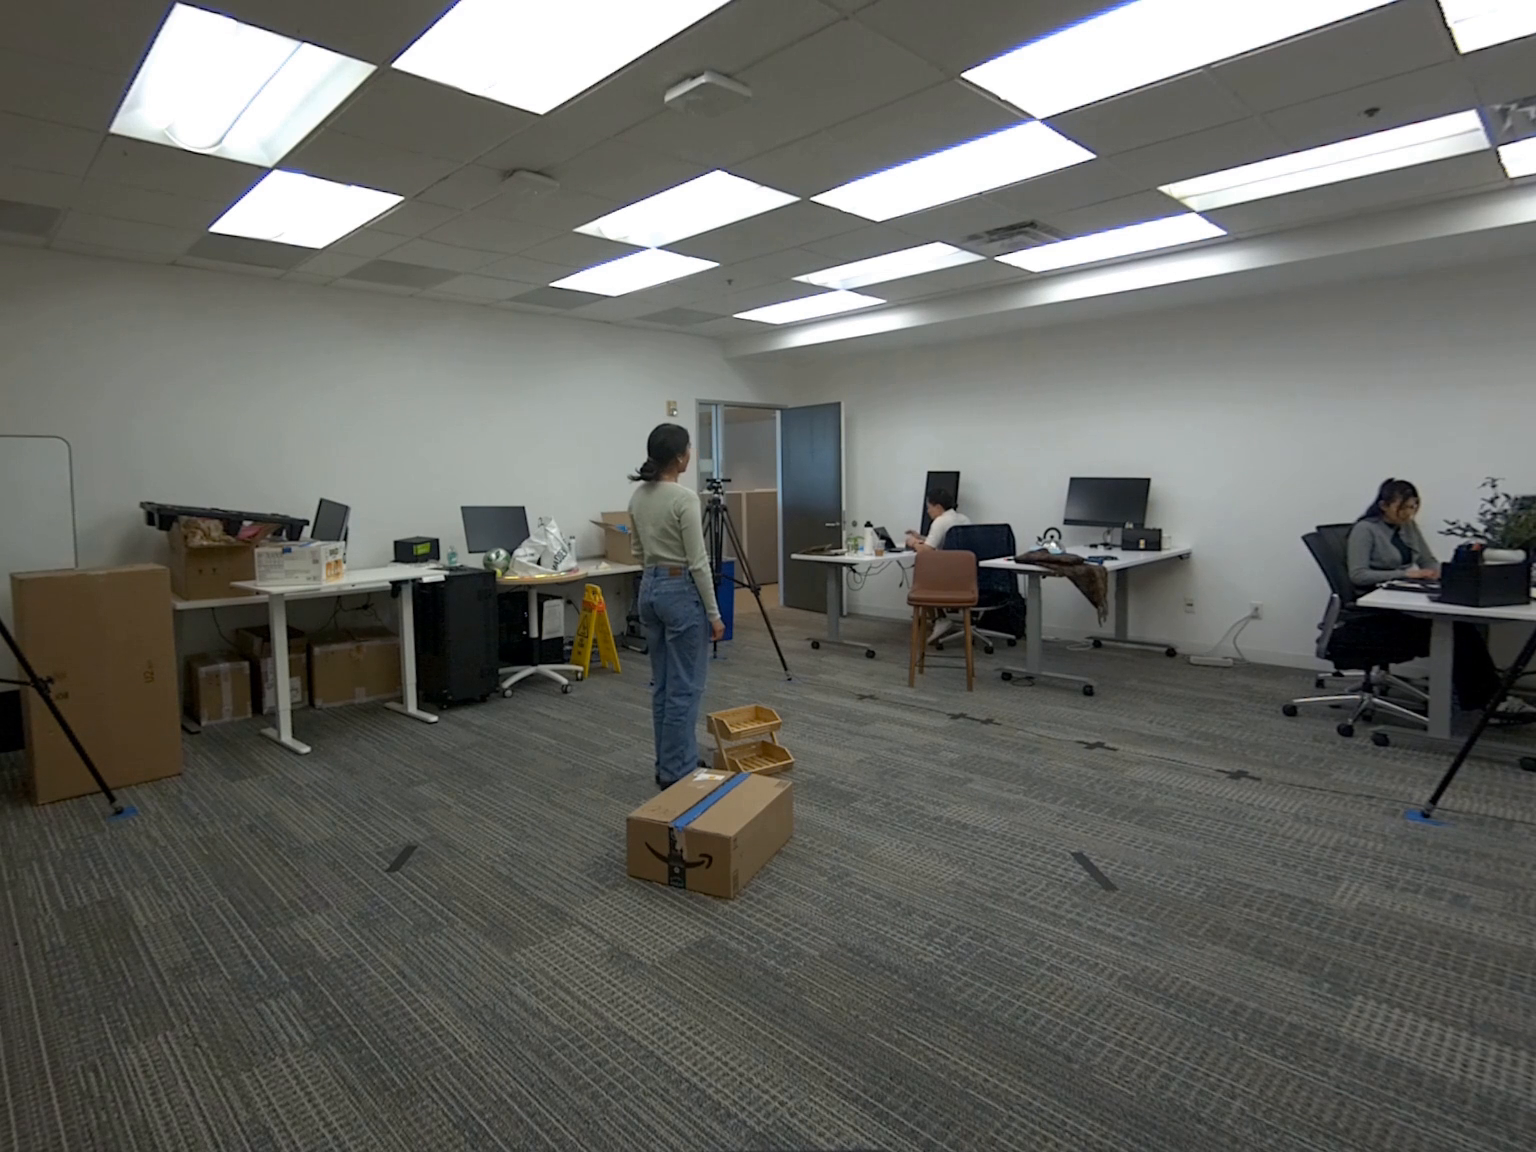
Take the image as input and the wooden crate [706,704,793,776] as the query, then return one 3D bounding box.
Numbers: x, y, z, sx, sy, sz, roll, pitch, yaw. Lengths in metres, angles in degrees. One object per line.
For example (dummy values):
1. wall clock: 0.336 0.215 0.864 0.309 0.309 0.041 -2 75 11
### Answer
1. wooden crate: -0.089 0.790 4.121 0.316 0.272 0.311 -5 5 -36
